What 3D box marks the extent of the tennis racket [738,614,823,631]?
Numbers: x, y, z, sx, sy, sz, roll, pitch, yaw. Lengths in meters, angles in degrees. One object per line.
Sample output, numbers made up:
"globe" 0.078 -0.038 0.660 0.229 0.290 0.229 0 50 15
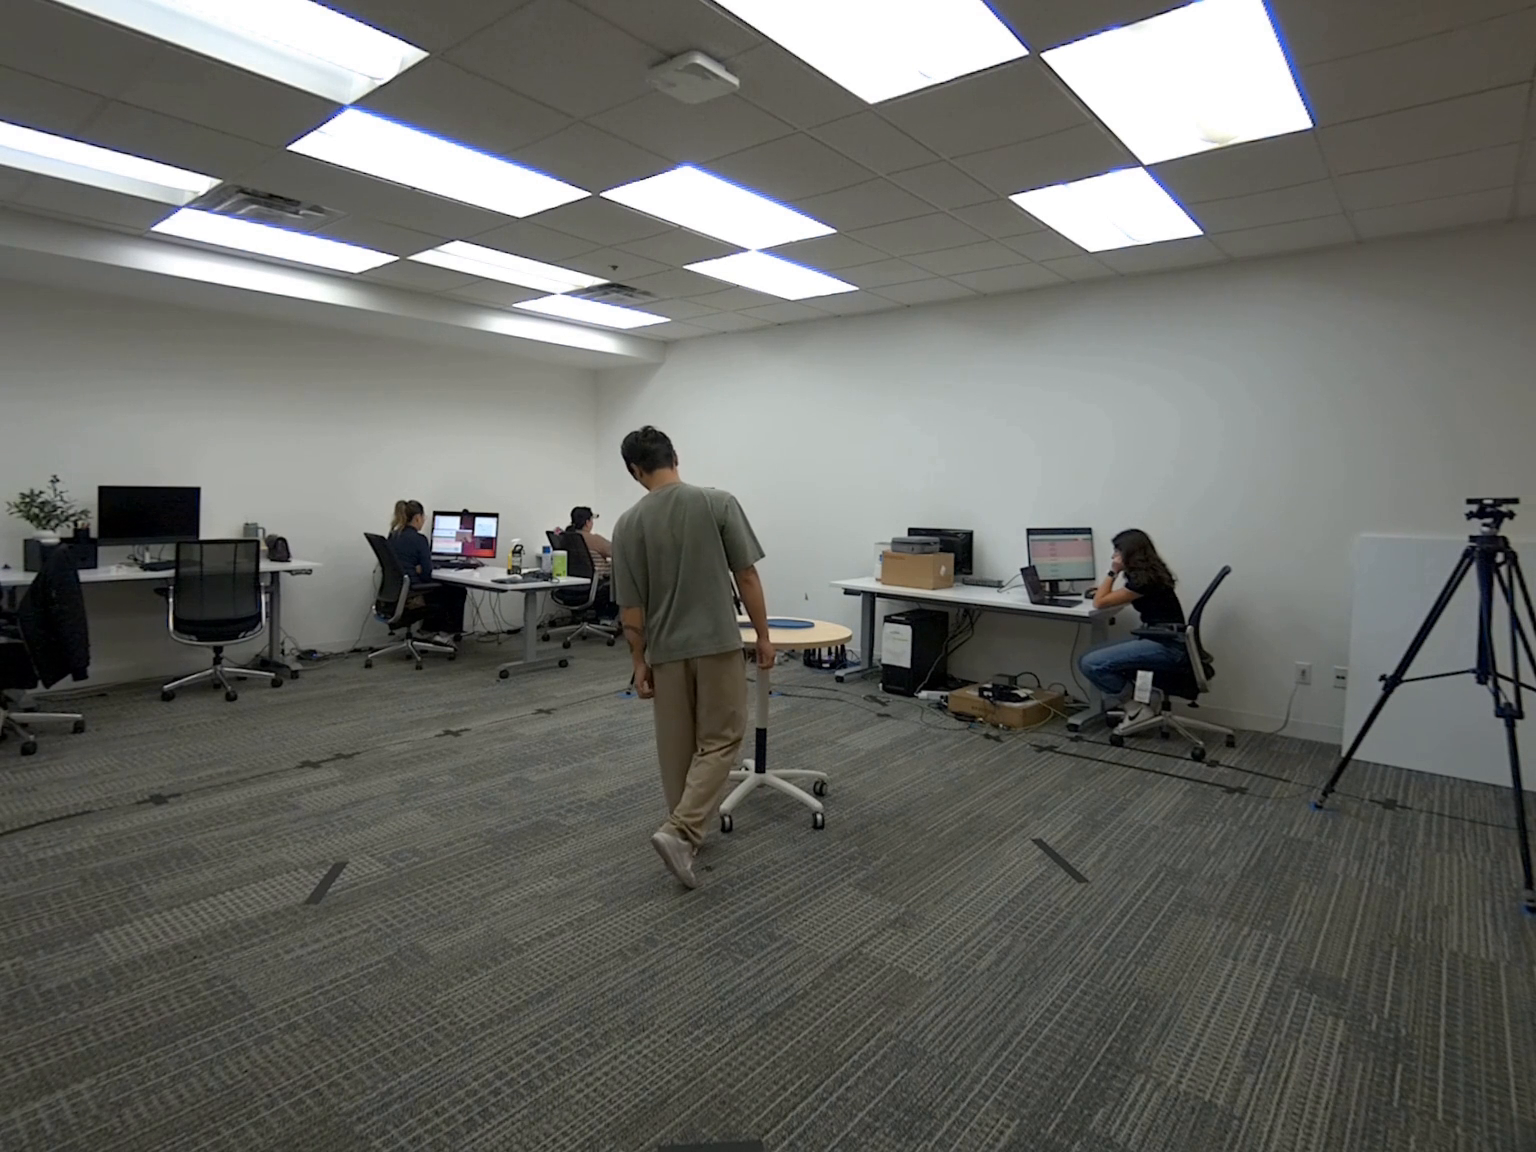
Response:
"tennis racket" 0.004 0.206 3.780 0.421 0.032 0.220 0 4 -32
